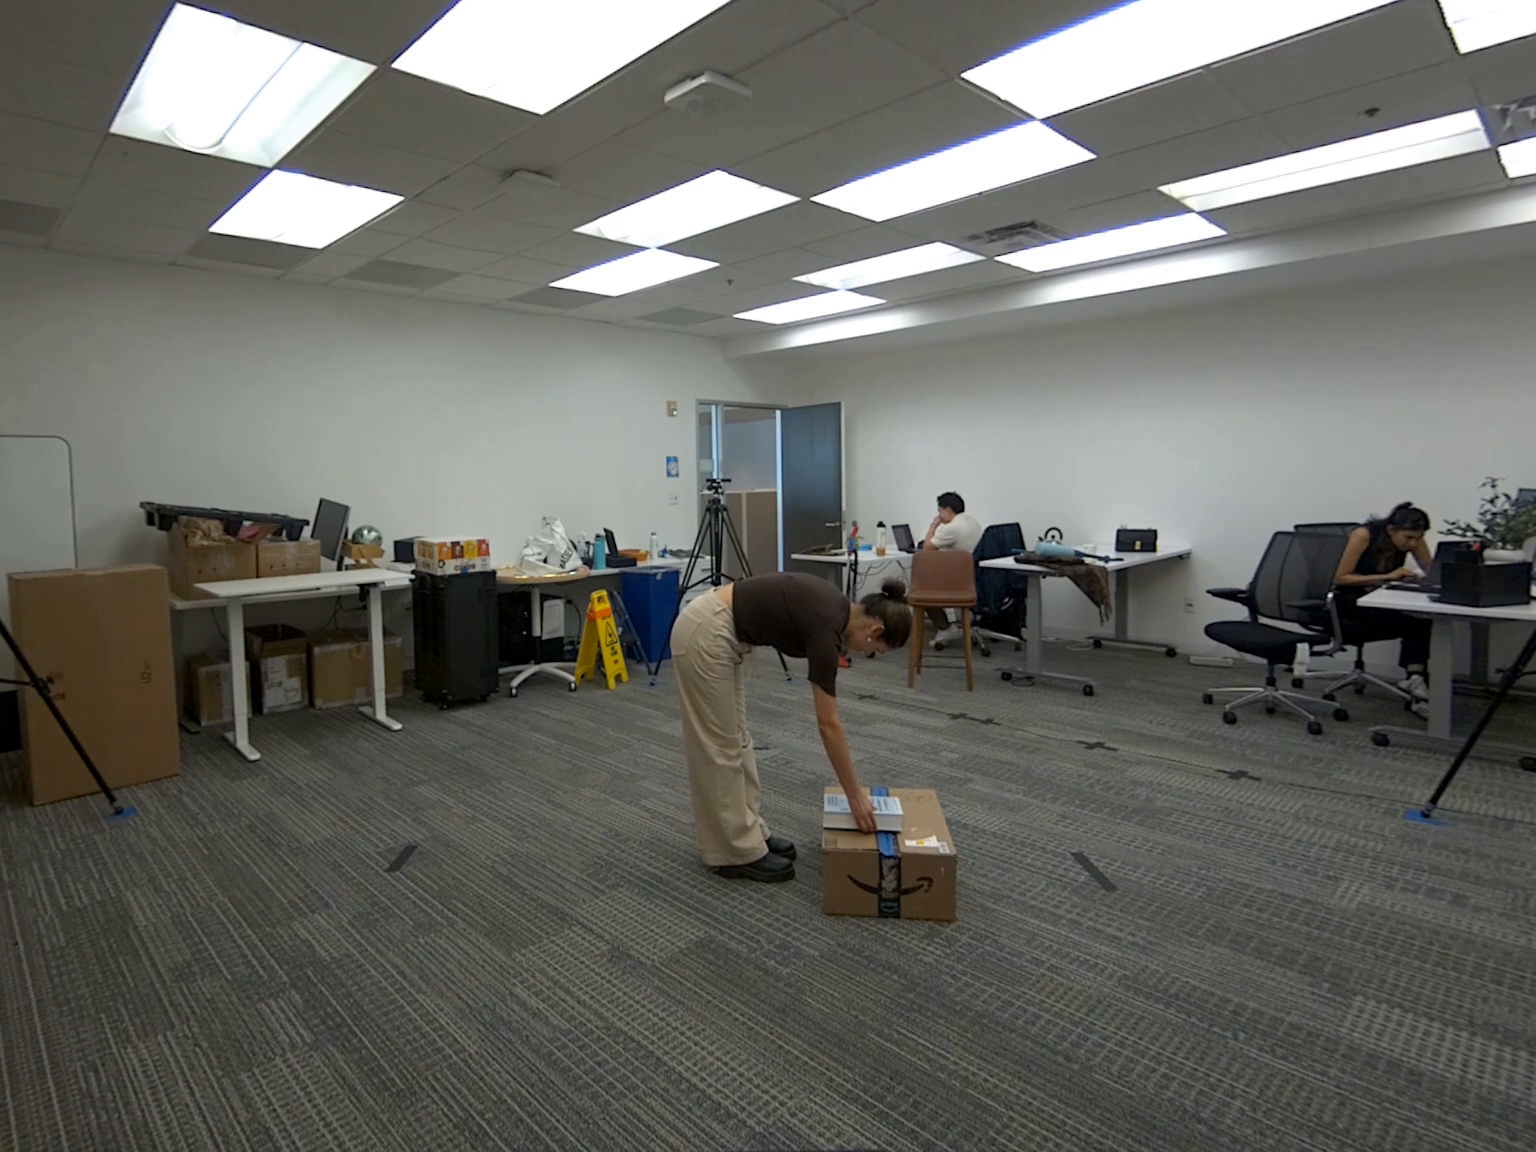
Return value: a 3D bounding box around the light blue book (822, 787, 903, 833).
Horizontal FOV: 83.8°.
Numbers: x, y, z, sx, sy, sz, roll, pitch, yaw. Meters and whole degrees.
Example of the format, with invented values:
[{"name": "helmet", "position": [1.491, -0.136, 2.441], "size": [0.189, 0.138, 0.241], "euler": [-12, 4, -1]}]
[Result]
[{"name": "light blue book", "position": [0.323, 0.808, 2.945], "size": [0.263, 0.059, 0.190], "euler": [1, 4, 7]}]
